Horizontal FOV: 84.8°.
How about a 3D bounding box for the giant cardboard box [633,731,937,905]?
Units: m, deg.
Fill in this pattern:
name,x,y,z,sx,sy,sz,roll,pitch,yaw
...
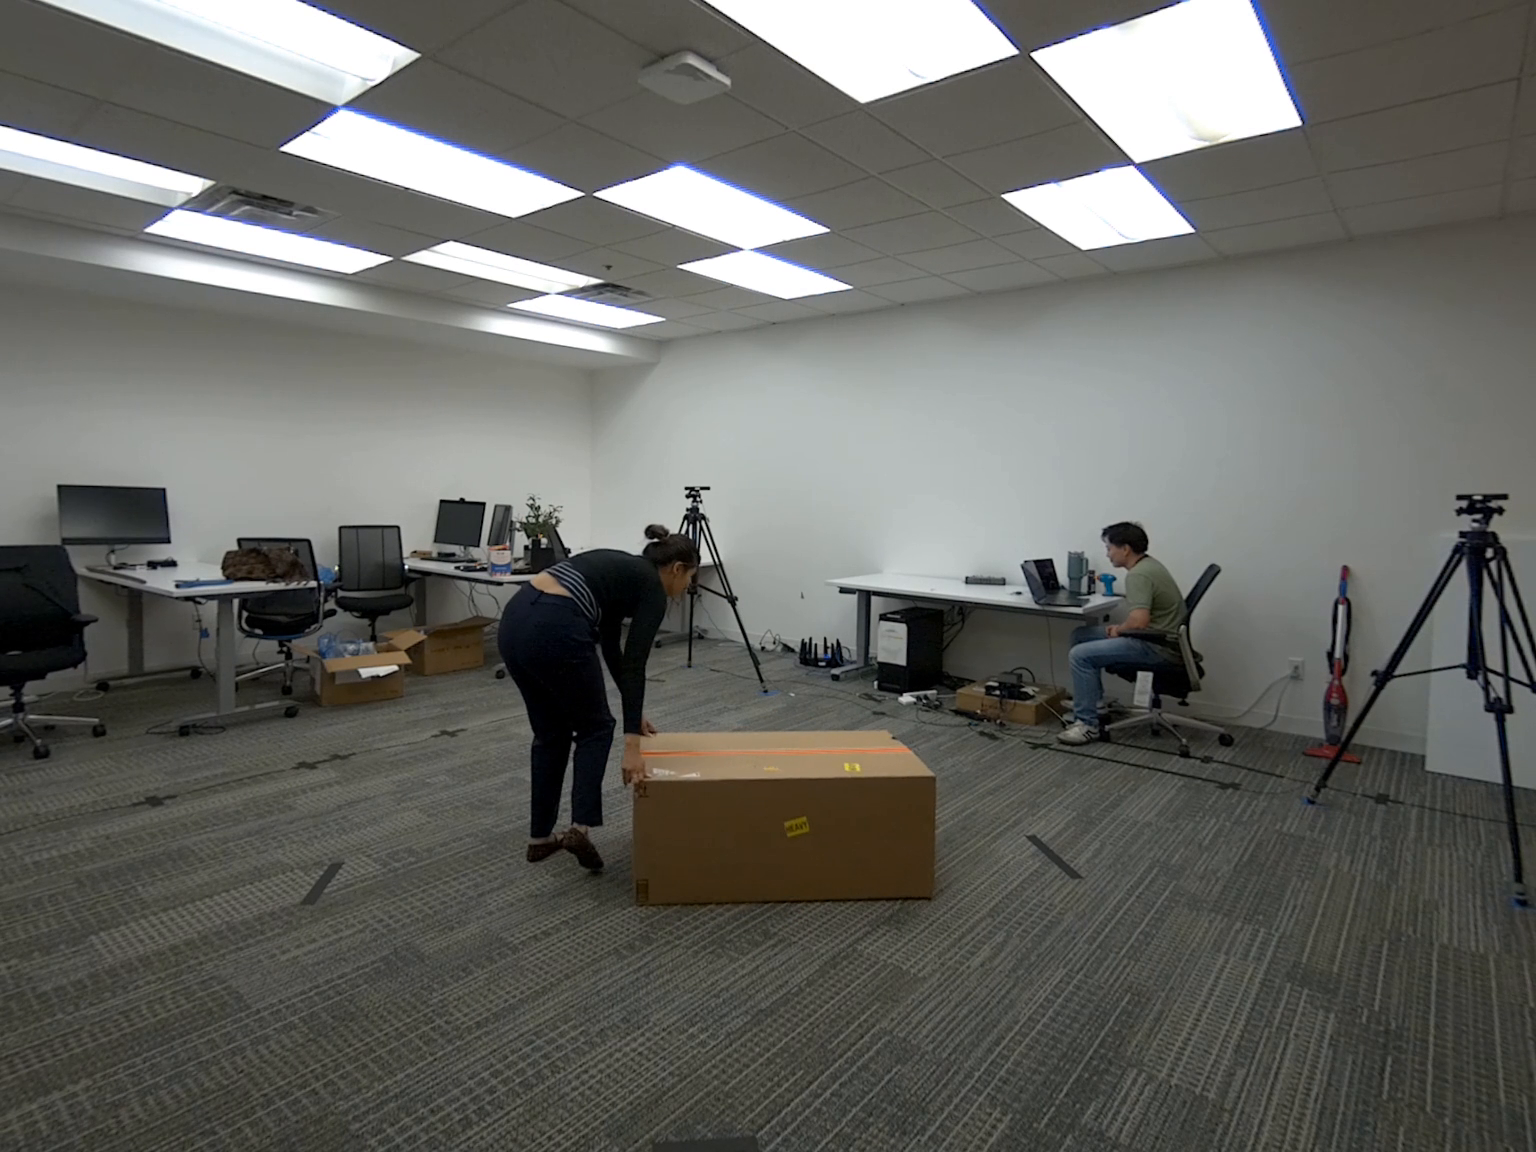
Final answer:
name,x,y,z,sx,sy,sz,roll,pitch,yaw
giant cardboard box,0.014,0.851,3.123,1.019,0.425,0.583,0,5,-6
